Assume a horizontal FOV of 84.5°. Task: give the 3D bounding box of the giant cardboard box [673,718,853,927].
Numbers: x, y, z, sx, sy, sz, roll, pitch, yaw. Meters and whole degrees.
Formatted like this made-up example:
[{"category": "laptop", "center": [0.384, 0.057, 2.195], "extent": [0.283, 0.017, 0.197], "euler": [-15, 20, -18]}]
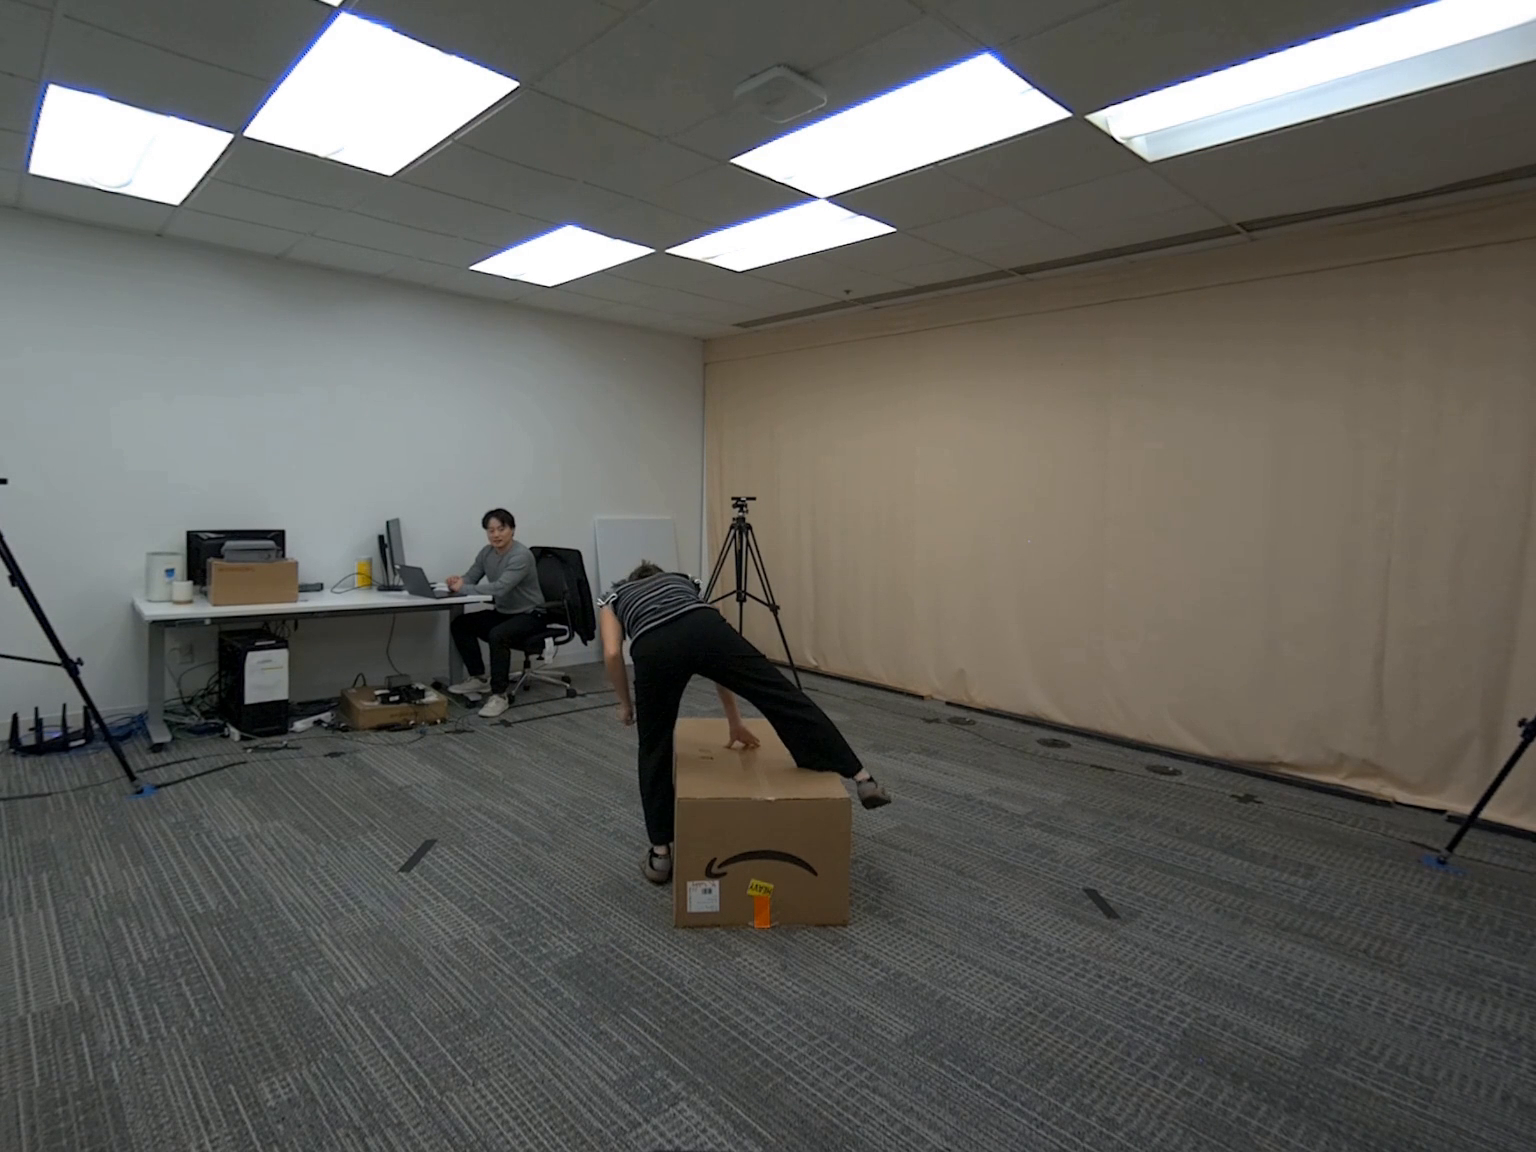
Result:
[{"category": "giant cardboard box", "center": [-0.077, 0.889, 3.231], "extent": [0.575, 0.425, 1.033], "euler": [1, 4, -6]}]
